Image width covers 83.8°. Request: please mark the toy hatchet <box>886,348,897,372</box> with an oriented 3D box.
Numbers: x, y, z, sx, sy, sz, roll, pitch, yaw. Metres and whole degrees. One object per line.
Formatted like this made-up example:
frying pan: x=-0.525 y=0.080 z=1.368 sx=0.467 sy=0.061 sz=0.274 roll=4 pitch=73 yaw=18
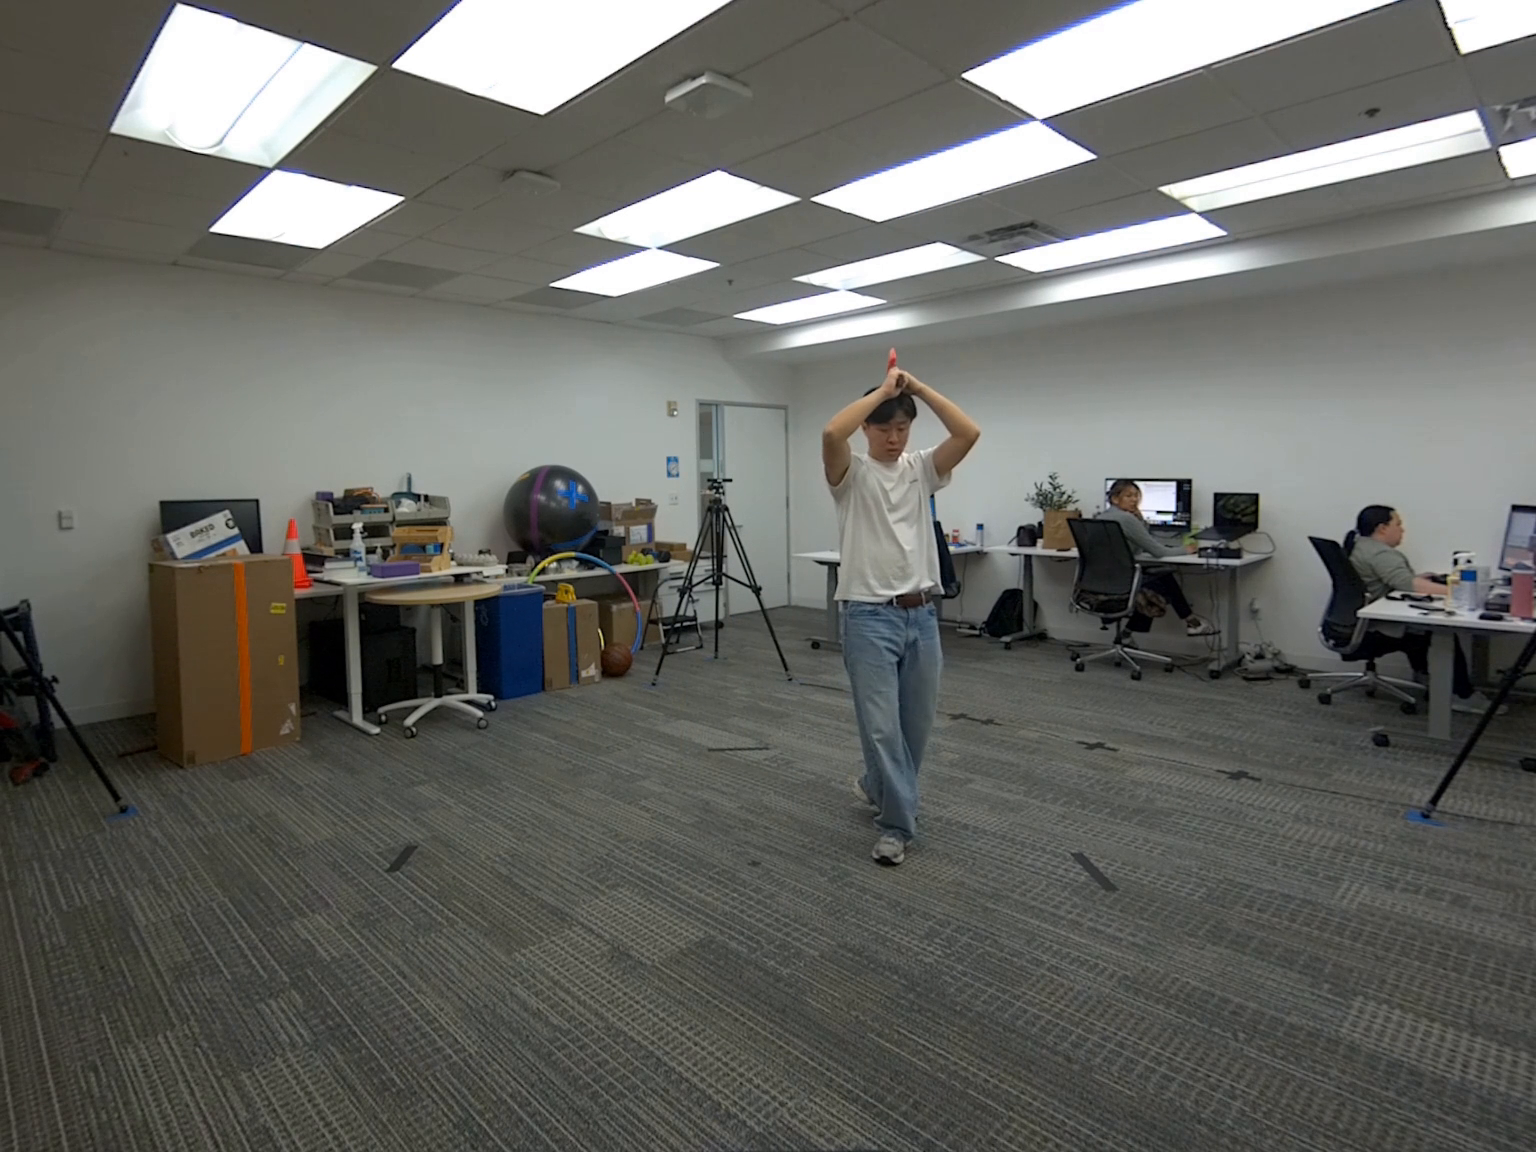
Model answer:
toy hatchet: x=0.481 y=-0.777 z=3.158 sx=0.029 sy=0.129 sz=0.273 roll=0 pitch=15 yaw=1
